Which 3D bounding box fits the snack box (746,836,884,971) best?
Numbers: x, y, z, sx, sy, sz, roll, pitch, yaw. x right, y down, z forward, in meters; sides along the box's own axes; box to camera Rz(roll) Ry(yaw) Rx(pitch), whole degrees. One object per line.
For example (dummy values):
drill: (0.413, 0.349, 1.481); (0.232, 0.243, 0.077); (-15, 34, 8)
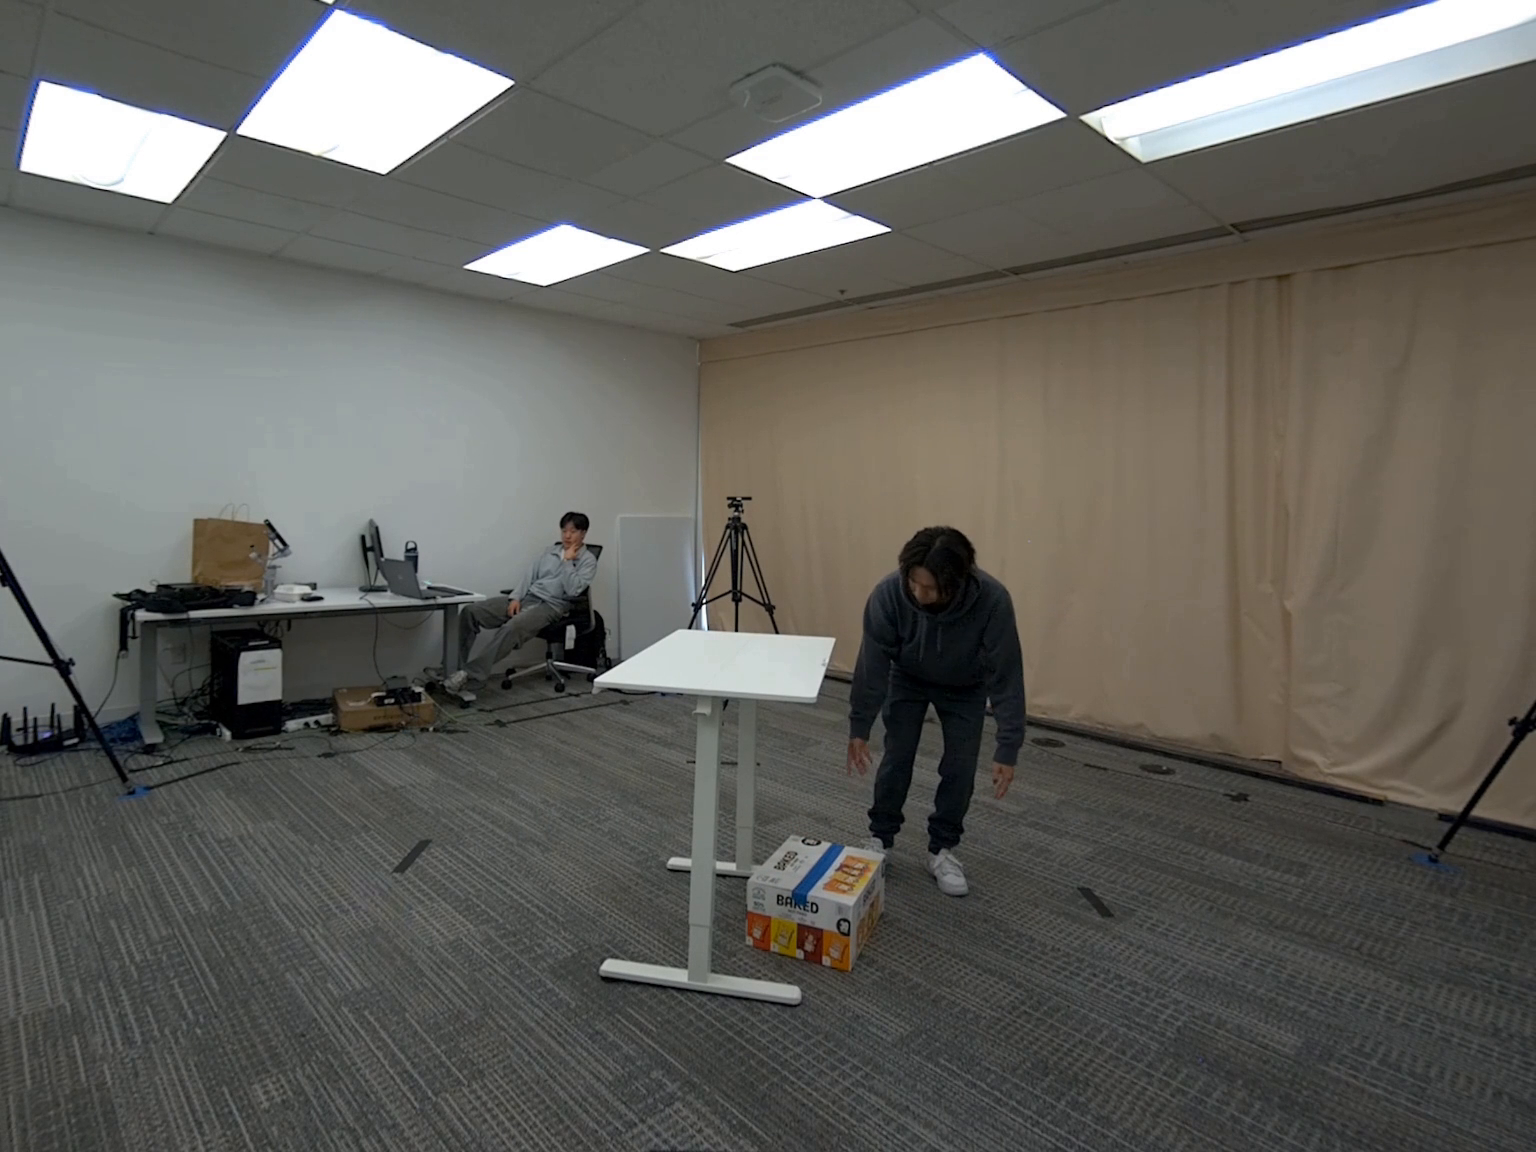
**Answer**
snack box: (0.159, 1.045, 2.727); (0.346, 0.205, 0.399); (4, 5, 23)
